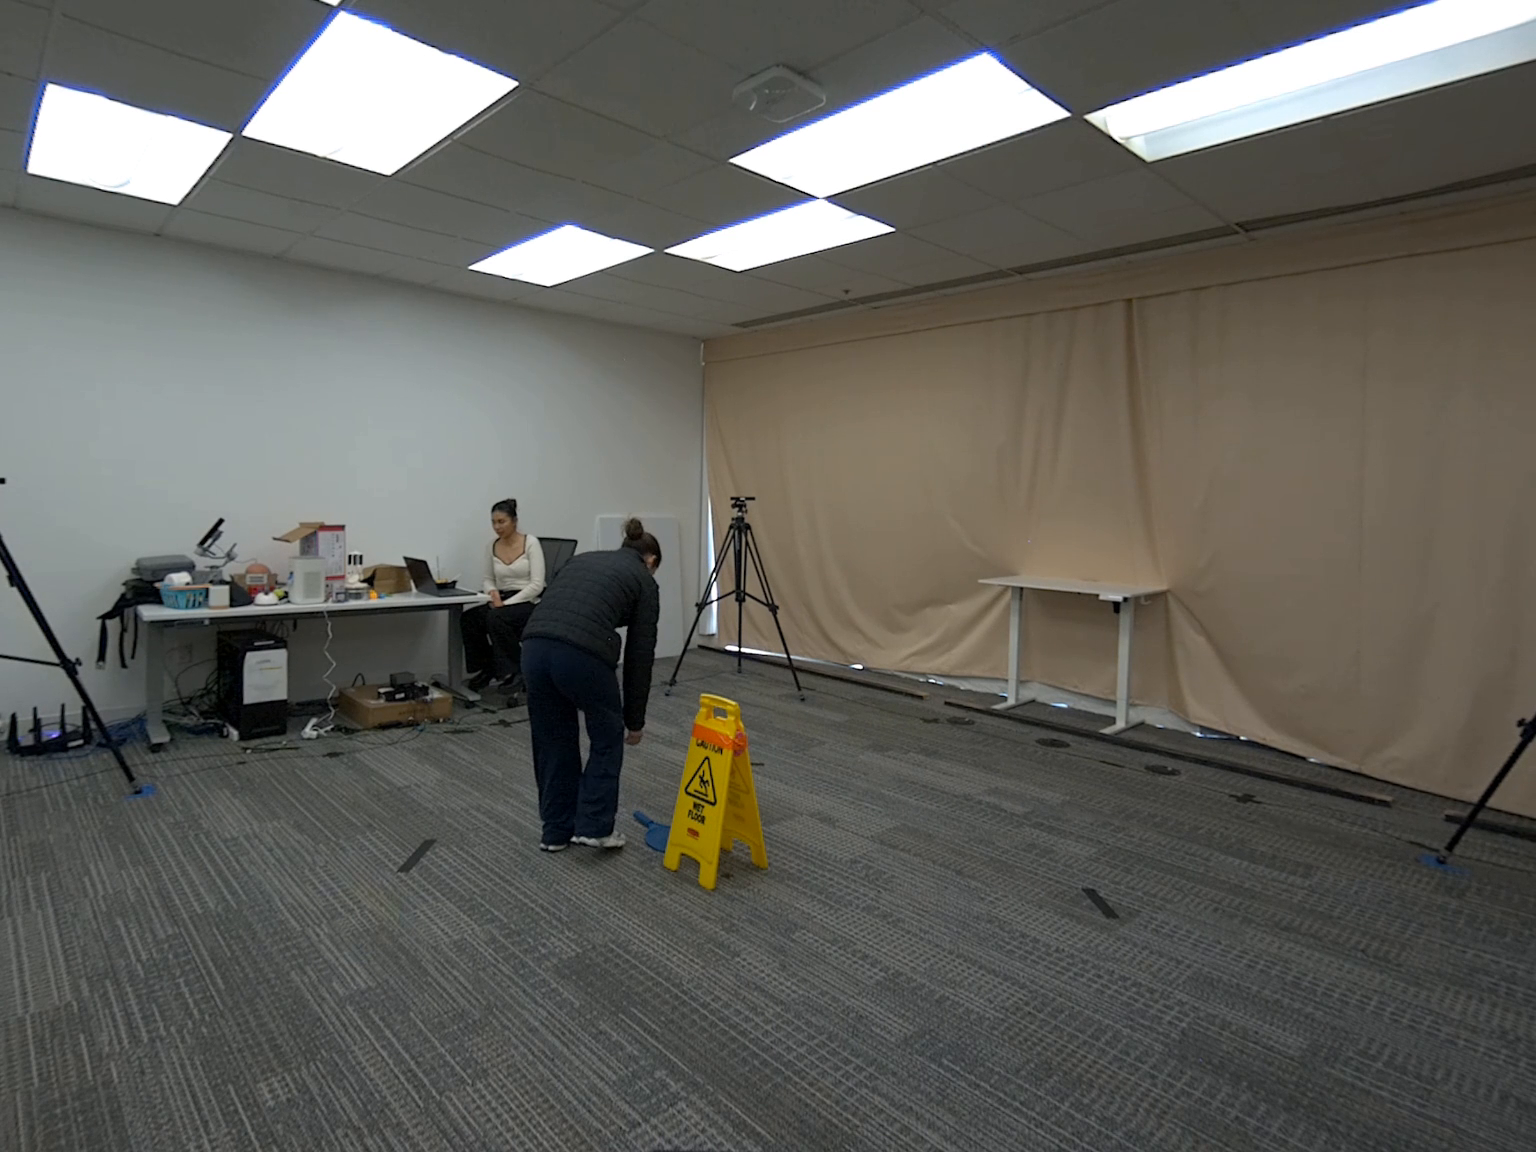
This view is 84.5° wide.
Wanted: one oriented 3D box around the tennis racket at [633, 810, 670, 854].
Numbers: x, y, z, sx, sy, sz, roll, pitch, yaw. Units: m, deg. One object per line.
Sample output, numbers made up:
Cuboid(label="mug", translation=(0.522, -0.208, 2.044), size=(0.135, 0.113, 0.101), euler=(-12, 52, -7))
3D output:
Cuboid(label="tennis racket", translation=(-0.438, 1.054, 3.444), size=(0.209, 0.031, 0.444), euler=(-2, 8, -39))
